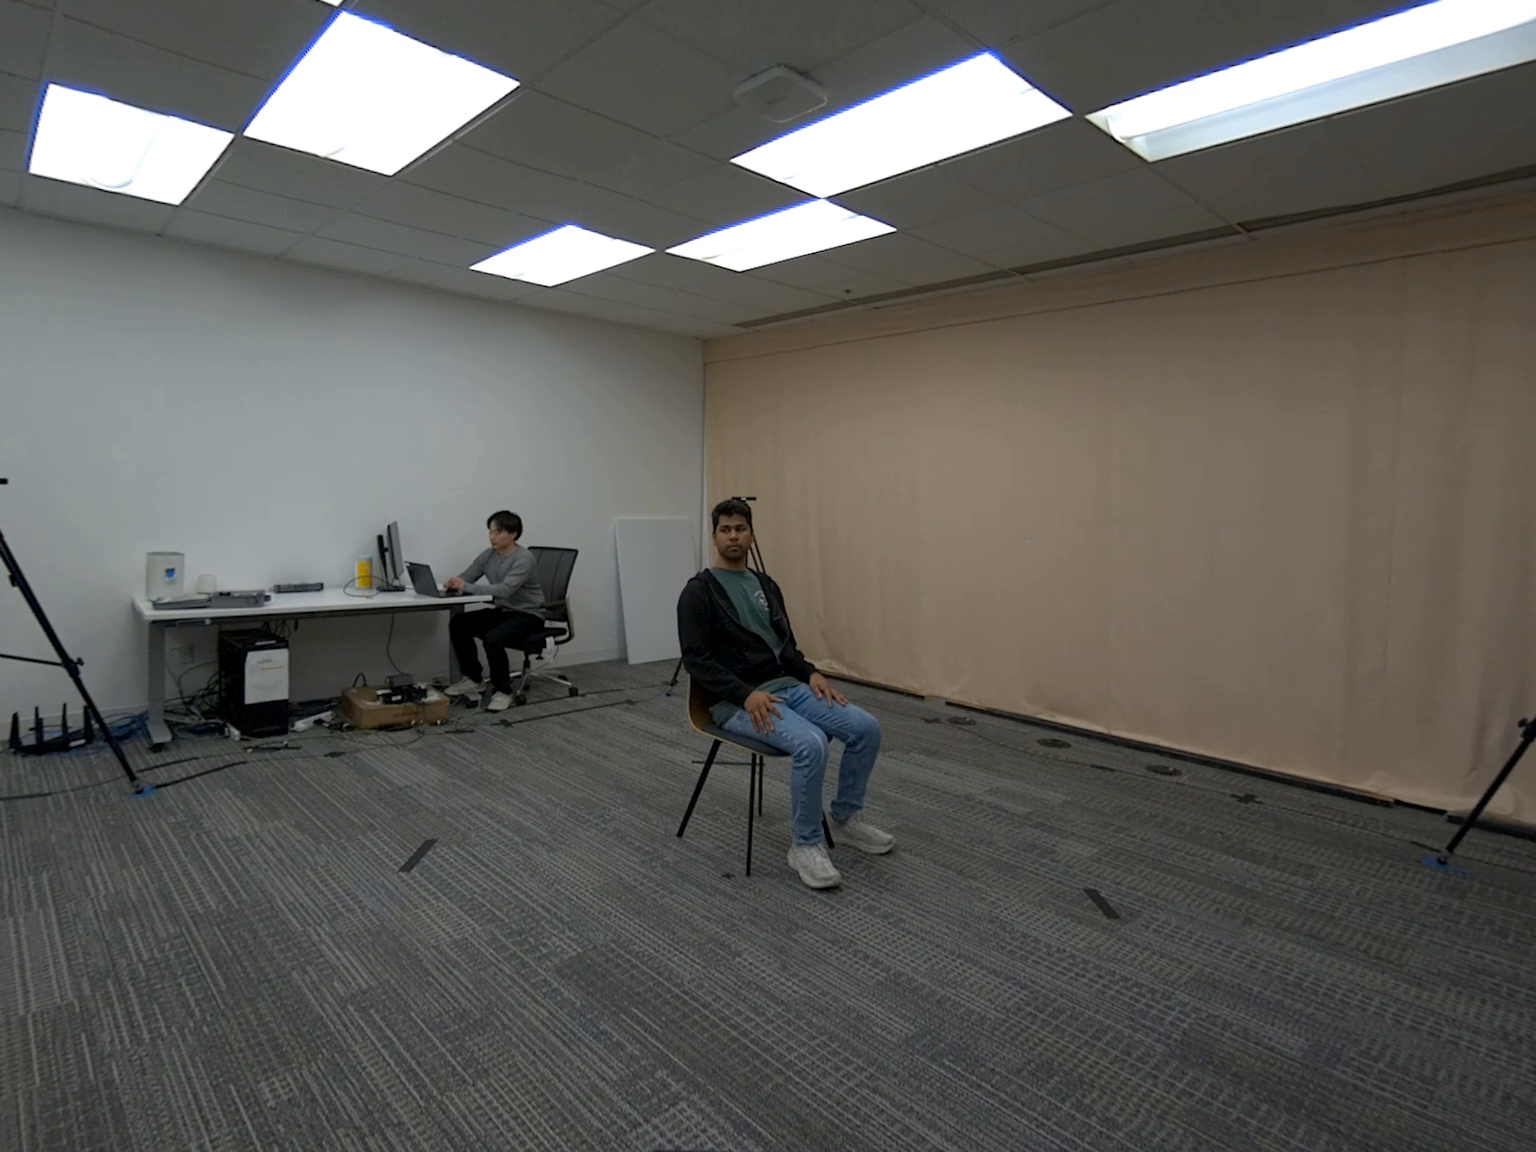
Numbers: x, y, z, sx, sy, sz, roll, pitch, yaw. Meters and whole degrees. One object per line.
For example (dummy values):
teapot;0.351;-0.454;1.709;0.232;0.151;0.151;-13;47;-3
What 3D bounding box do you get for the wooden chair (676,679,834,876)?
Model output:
wooden chair;-0.050;0.655;3.383;0.467;0.878;0.535;0;-1;-40
